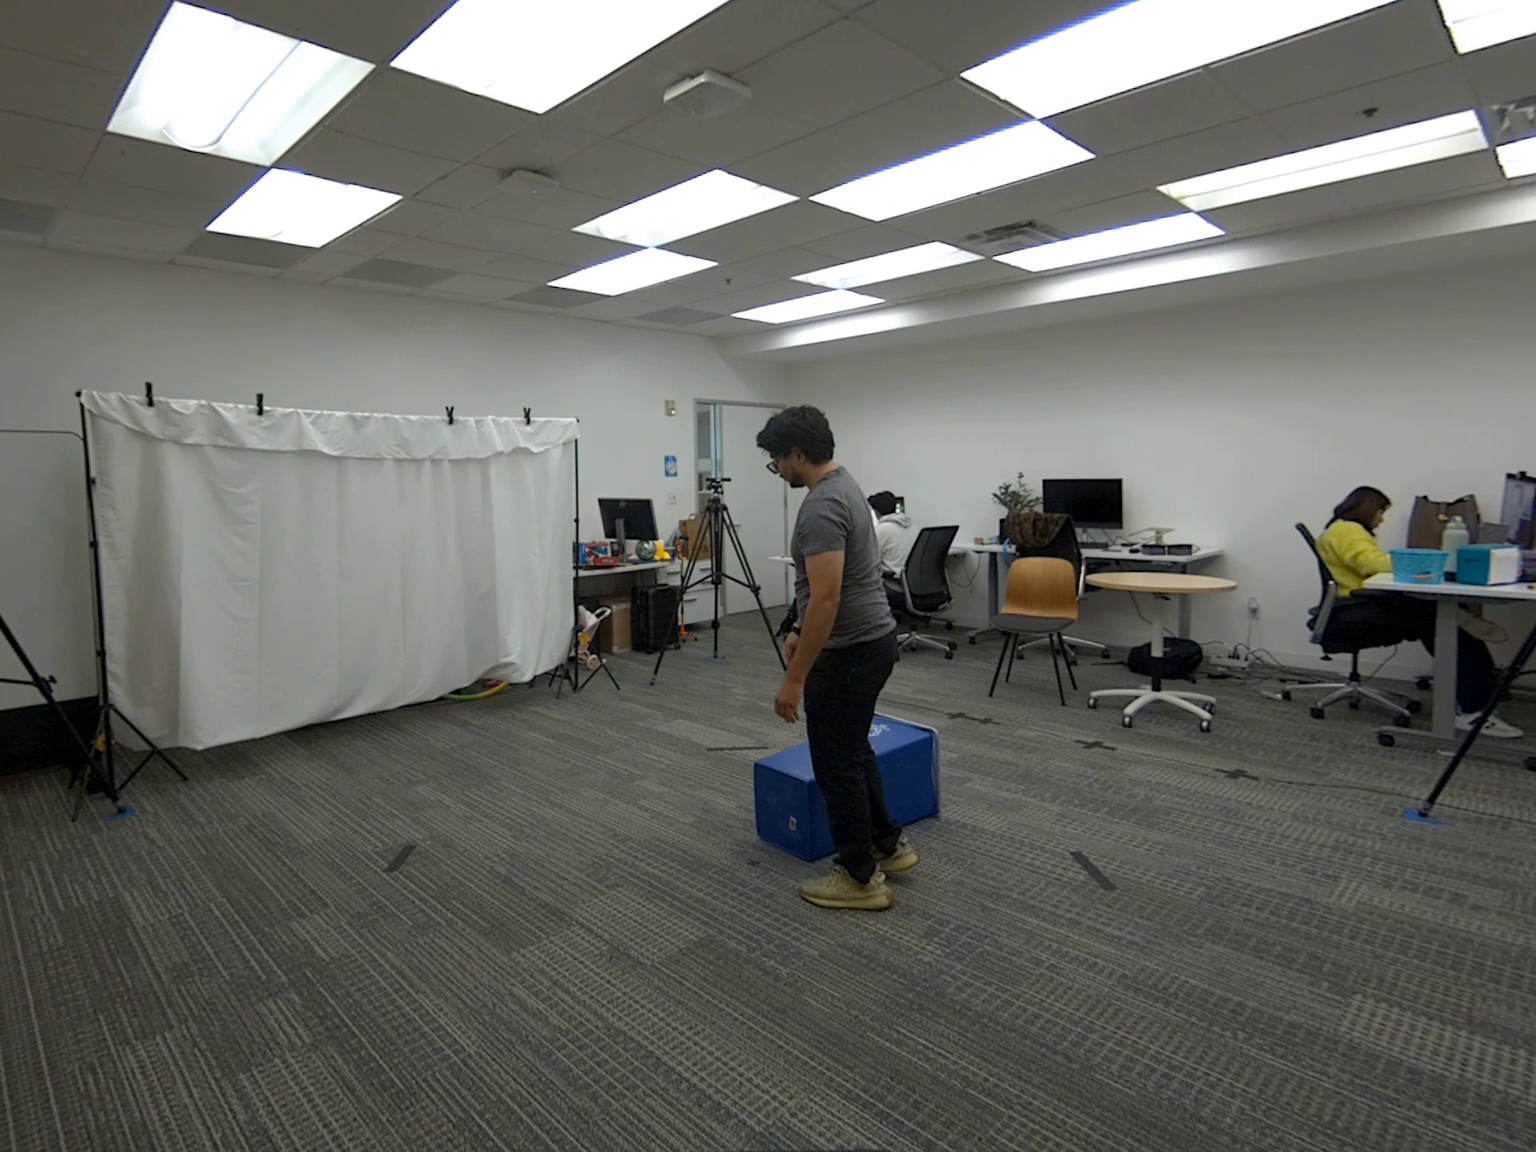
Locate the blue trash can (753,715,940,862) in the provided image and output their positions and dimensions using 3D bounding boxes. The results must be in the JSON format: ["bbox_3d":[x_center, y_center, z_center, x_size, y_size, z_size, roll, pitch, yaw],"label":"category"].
[{"bbox_3d":[0.320,0.823,3.404,0.696,0.372,0.390,-8,9,-39],"label":"blue trash can"}]
